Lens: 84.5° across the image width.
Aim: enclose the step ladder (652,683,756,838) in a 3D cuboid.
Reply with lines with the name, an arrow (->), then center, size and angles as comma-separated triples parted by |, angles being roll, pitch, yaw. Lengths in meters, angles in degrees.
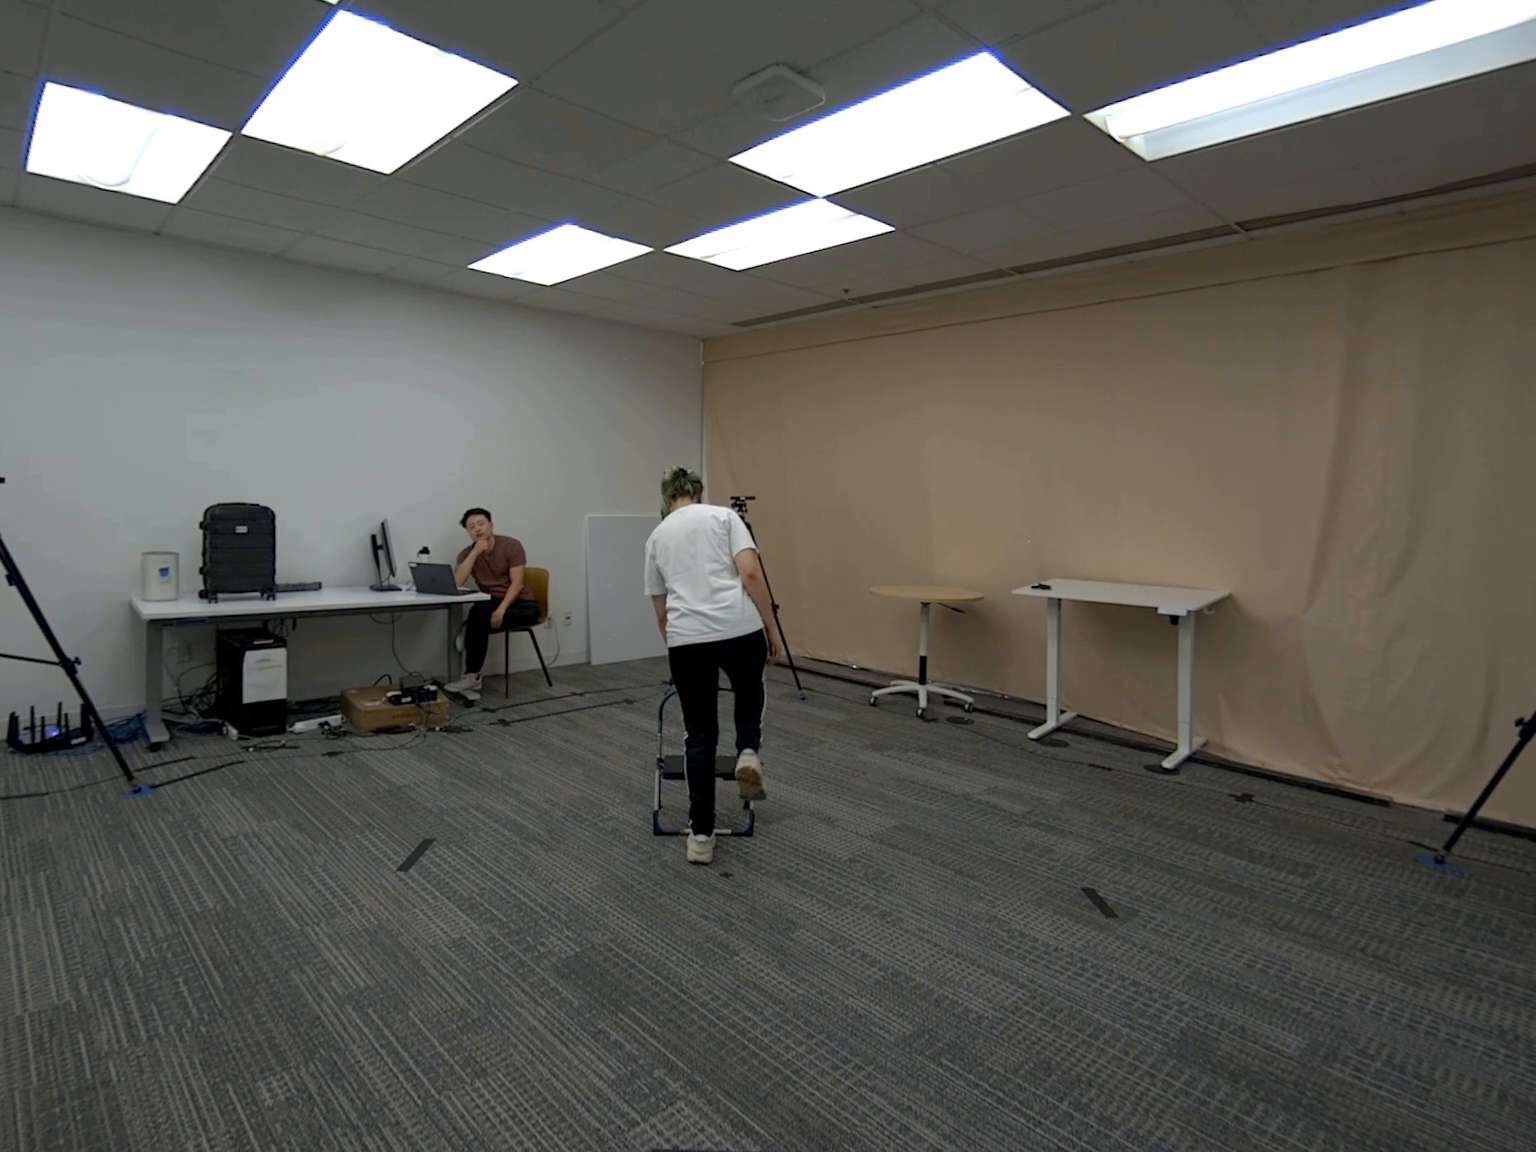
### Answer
step ladder -> -0.281, 0.755, 3.613 | 0.429, 0.604, 0.351 | 1, 3, -5
